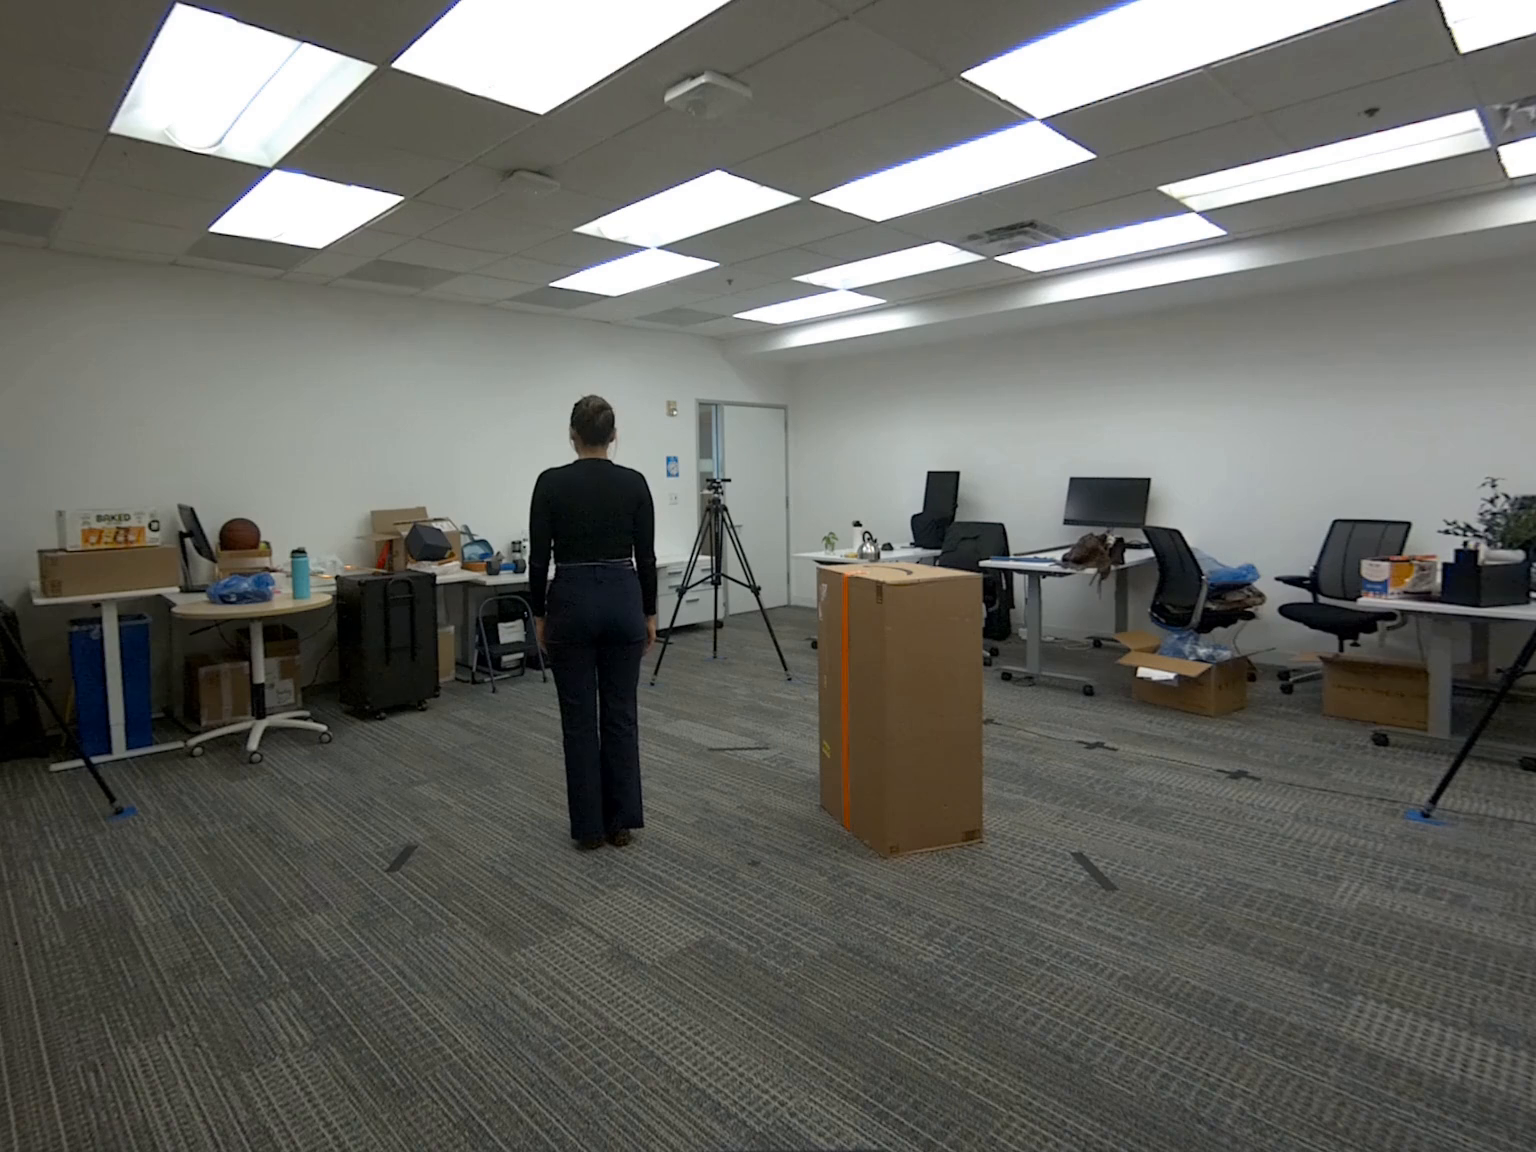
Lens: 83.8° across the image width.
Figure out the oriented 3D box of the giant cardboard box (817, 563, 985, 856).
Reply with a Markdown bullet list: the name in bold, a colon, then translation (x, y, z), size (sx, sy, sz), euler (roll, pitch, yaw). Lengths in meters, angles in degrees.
- **giant cardboard box**: translation (0.507, 0.488, 3.417), size (0.419, 1.022, 0.590), euler (-2, 5, -20)
